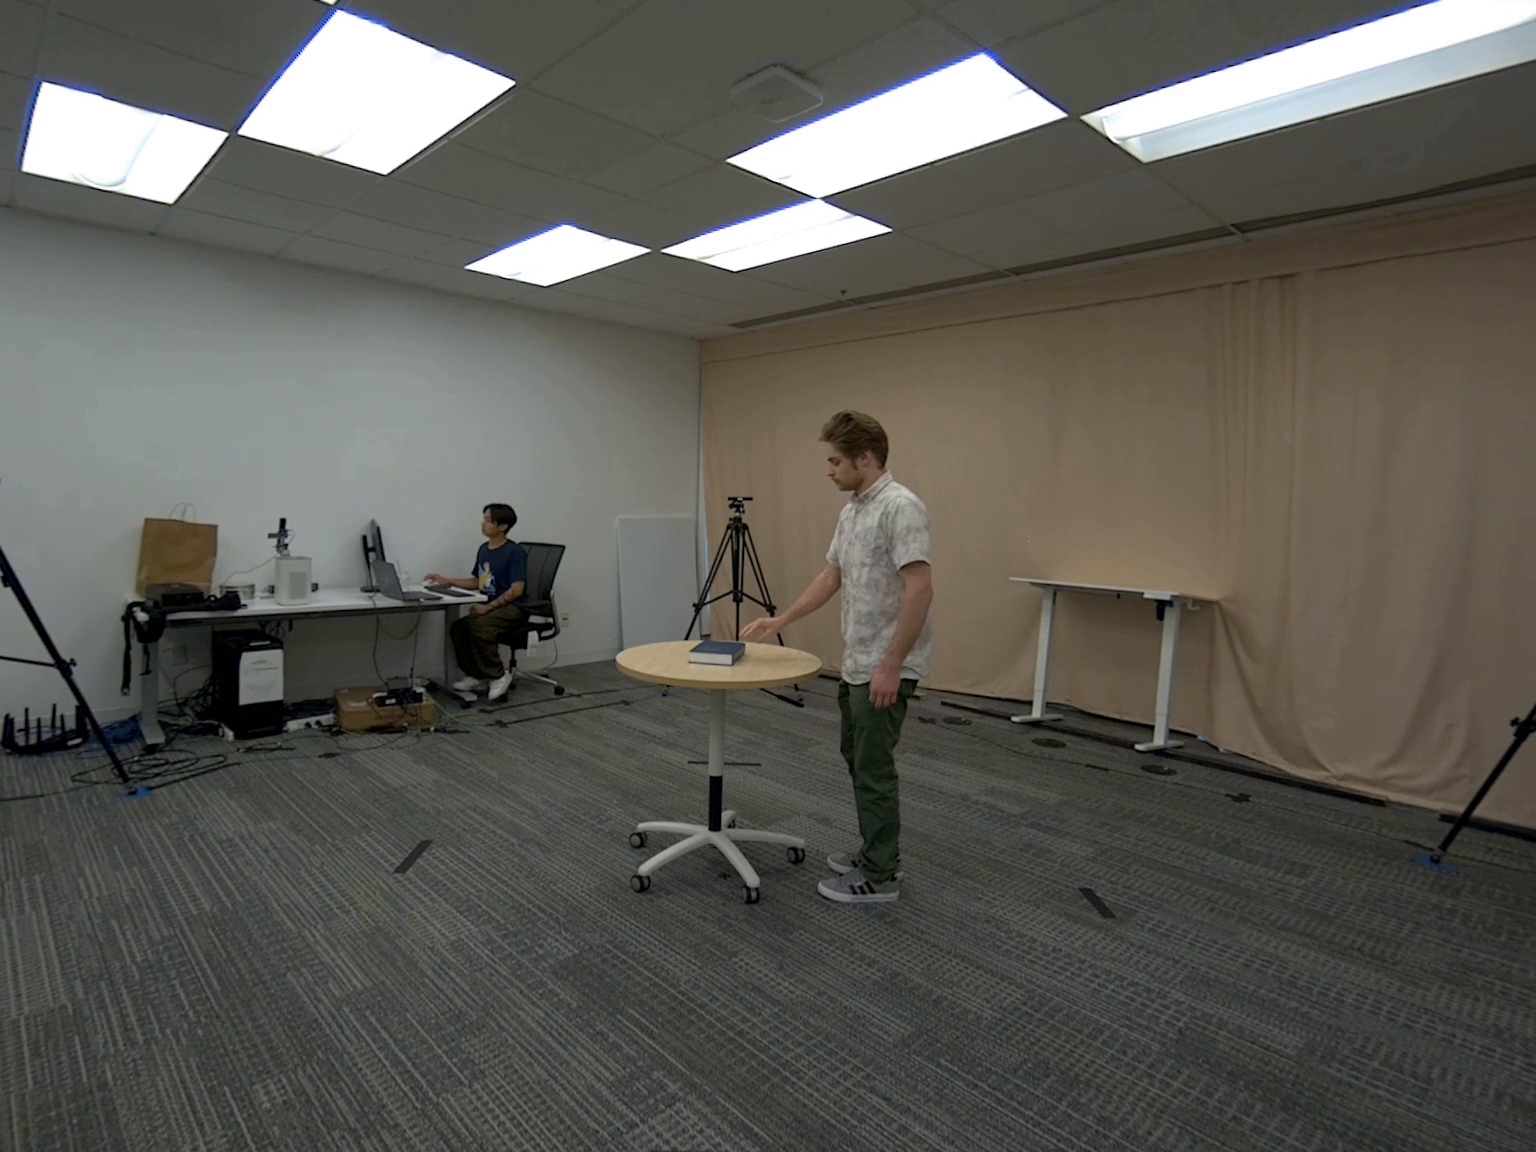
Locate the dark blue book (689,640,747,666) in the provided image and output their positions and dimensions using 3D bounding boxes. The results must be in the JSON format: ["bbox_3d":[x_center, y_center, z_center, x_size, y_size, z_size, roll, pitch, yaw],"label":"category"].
[{"bbox_3d":[-0.193,0.286,3.147,0.165,0.045,0.244,2,6,10],"label":"dark blue book"}]
